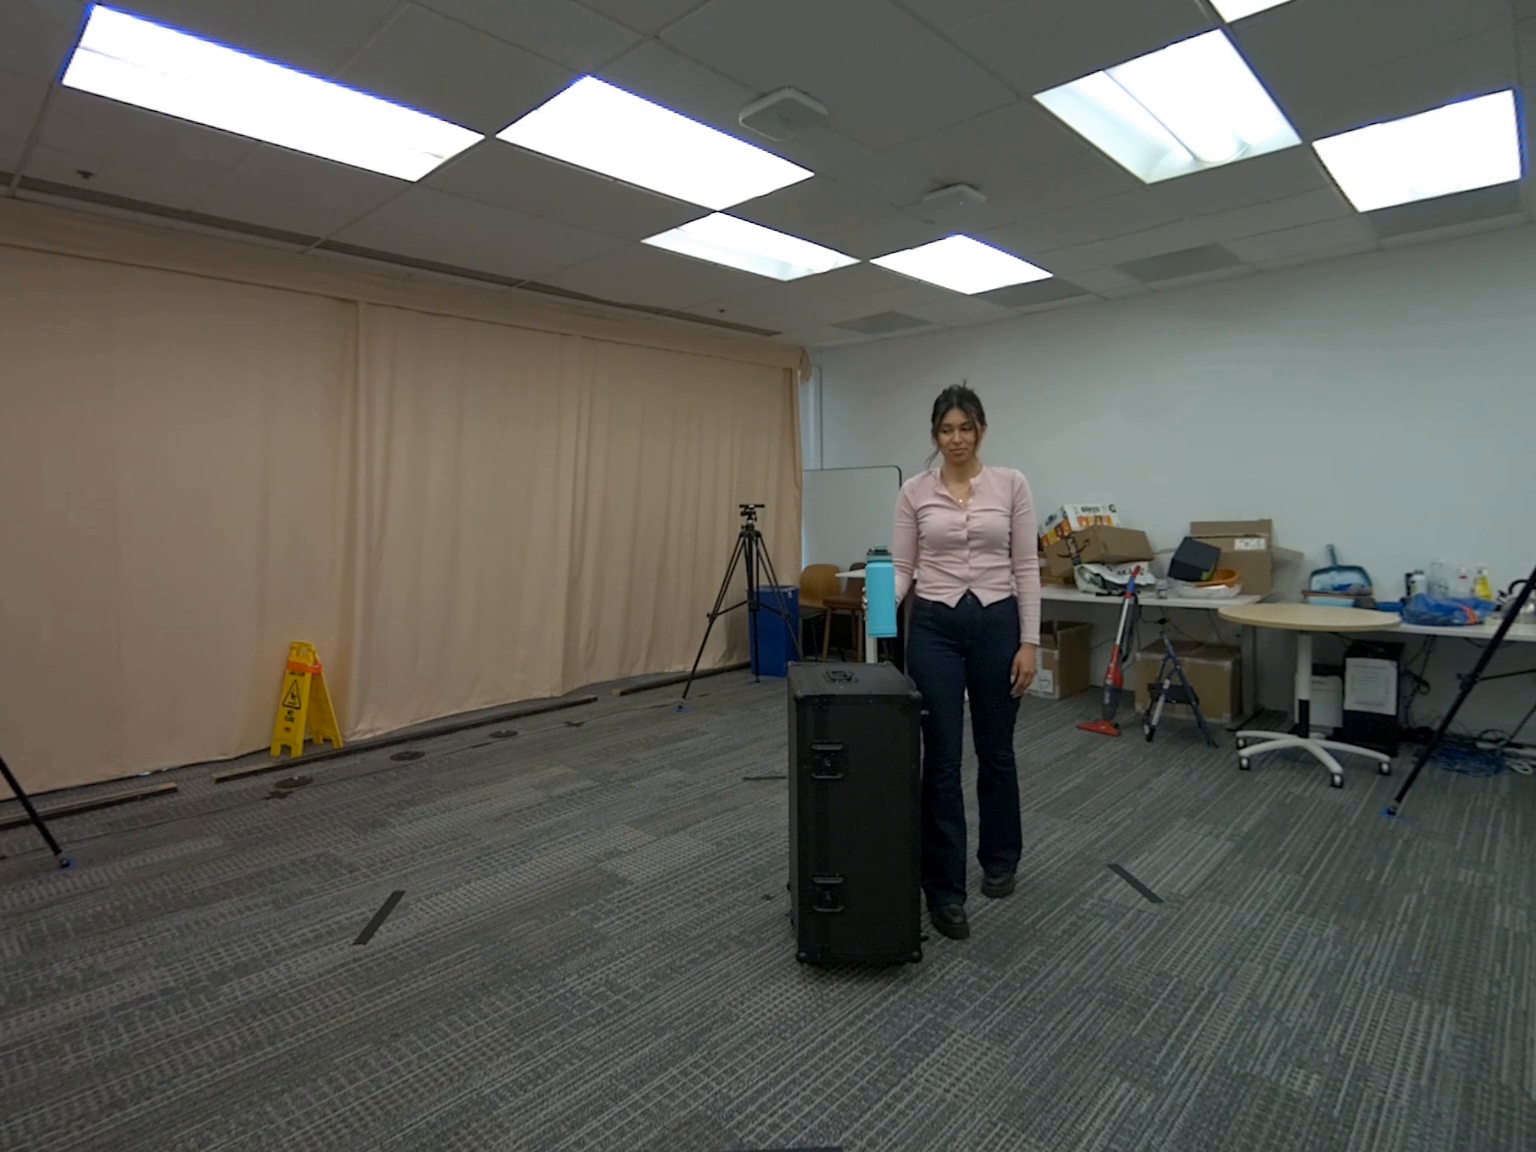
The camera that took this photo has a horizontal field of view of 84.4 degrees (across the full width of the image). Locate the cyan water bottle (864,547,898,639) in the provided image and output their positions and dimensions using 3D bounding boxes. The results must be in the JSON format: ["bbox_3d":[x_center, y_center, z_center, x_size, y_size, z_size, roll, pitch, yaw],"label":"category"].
[{"bbox_3d":[0.357,0.046,2.601,0.092,0.284,0.092,-3,-4,-2],"label":"cyan water bottle"}]
